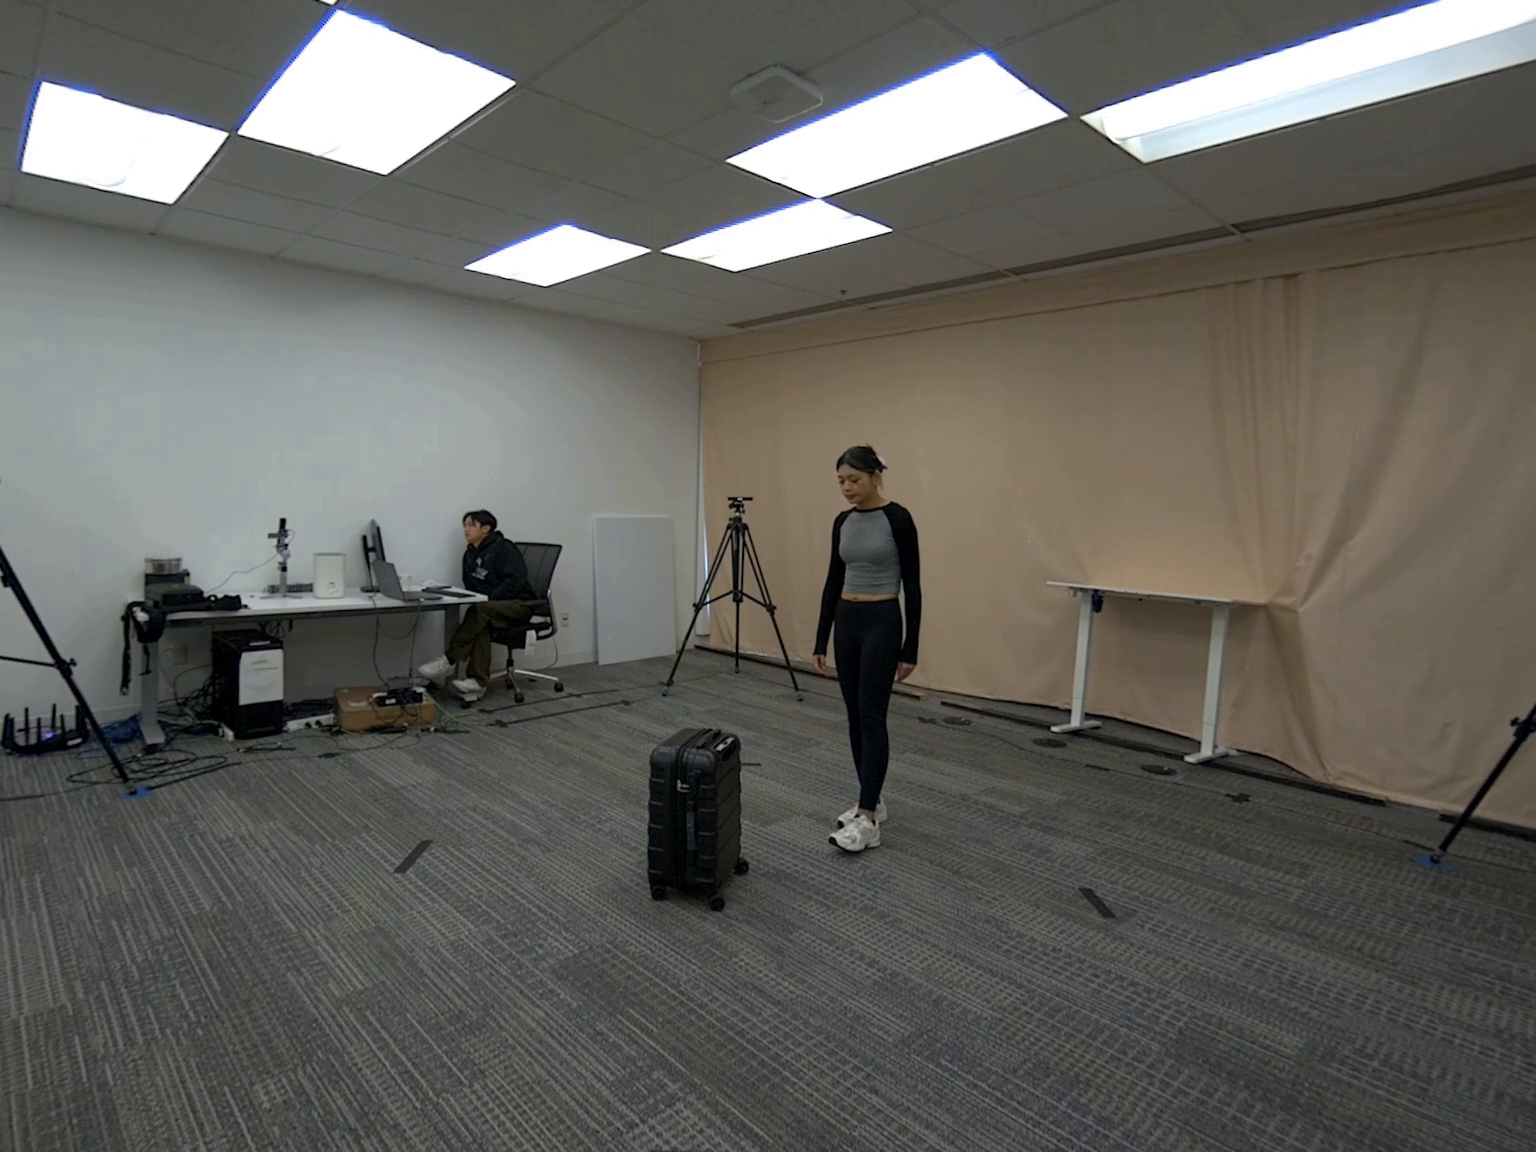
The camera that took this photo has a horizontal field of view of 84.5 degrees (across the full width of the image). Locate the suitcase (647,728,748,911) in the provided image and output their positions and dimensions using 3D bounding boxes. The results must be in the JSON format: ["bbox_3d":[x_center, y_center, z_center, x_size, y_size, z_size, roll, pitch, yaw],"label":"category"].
[{"bbox_3d":[-0.264,0.839,3.006,0.252,0.548,0.371,0,4,18],"label":"suitcase"}]
